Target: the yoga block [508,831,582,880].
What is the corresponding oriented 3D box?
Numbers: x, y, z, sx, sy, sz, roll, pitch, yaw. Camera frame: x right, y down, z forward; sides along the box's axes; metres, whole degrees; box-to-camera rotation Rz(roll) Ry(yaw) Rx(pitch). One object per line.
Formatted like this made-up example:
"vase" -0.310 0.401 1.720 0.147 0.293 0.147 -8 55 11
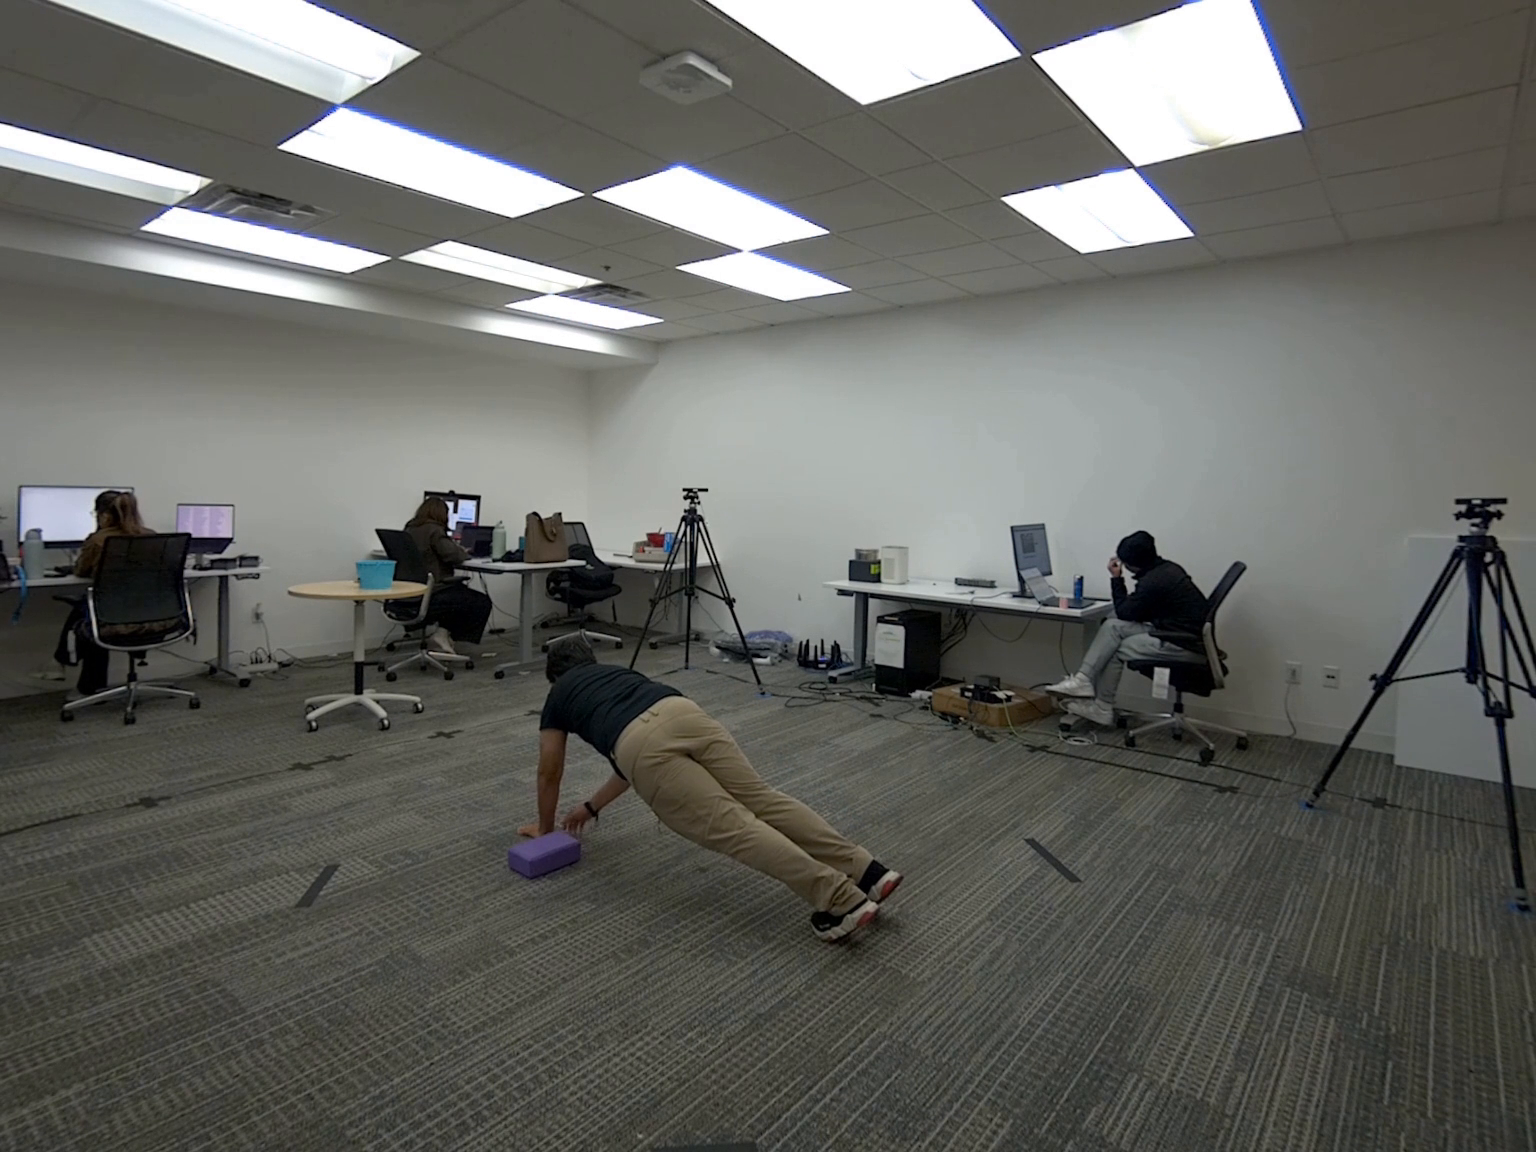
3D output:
"yoga block" -0.832 1.018 3.122 0.154 0.076 0.222 4 6 41
